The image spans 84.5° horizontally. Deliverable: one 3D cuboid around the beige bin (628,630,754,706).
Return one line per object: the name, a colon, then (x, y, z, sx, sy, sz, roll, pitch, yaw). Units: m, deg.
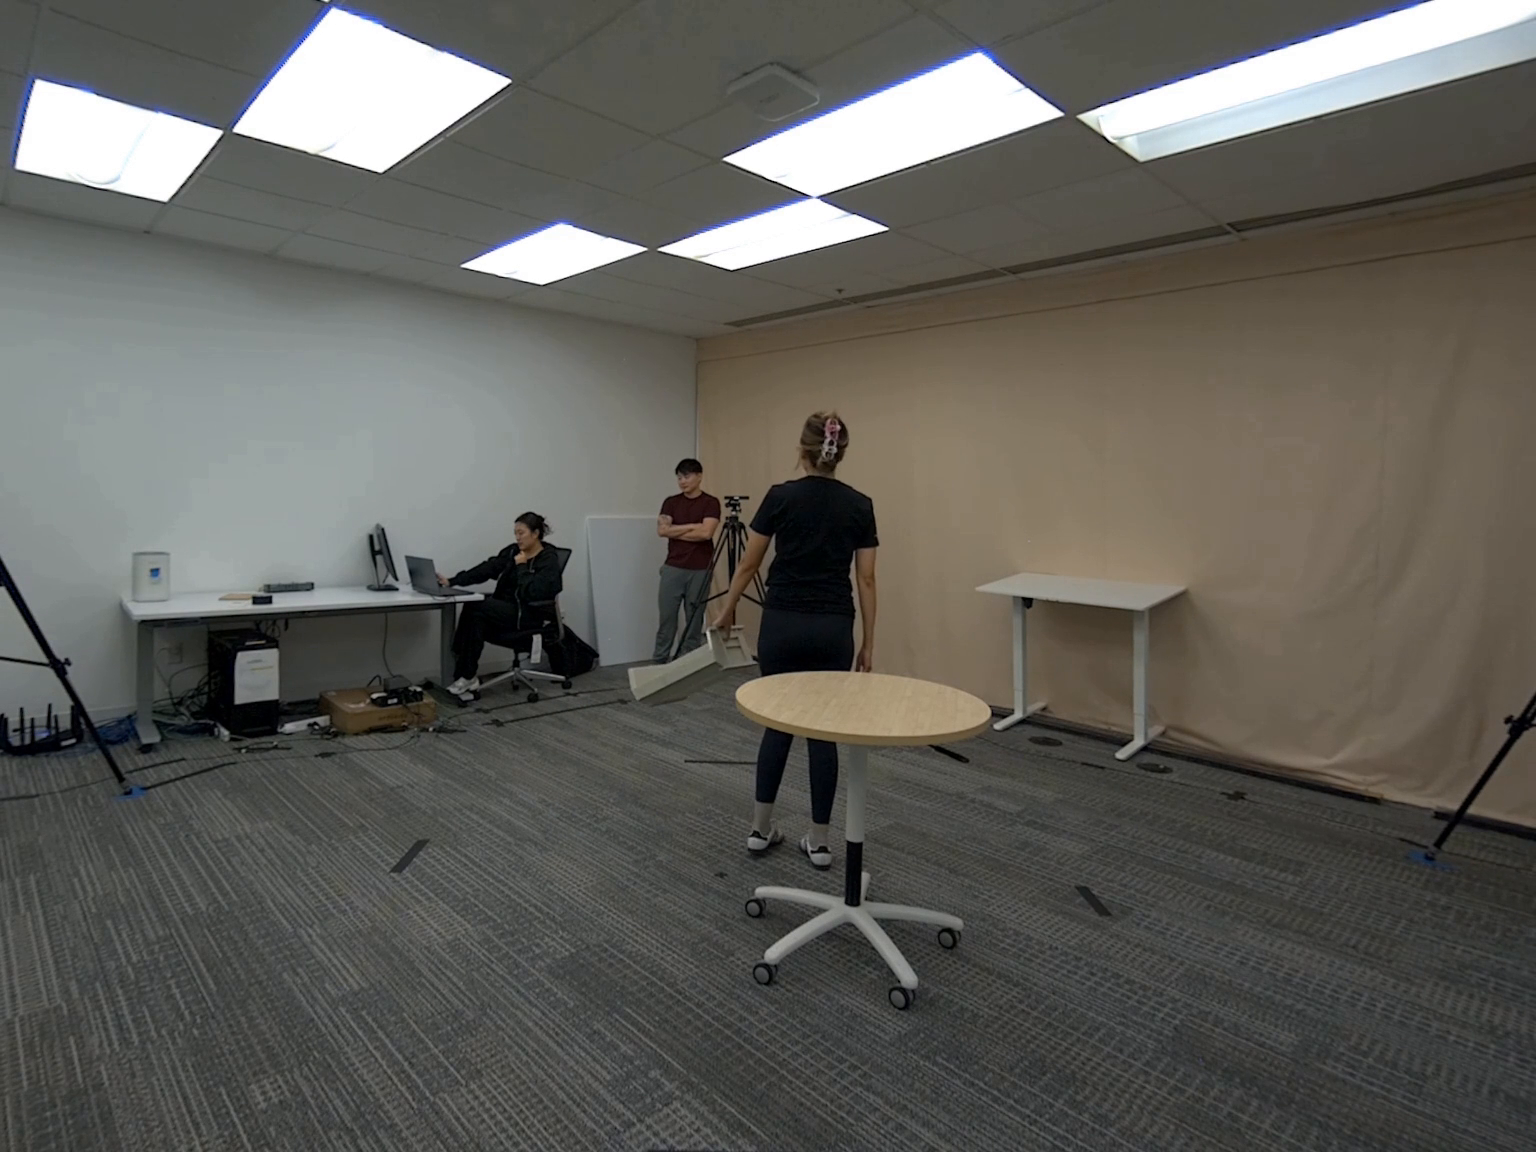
beige bin: (-0.324, 0.383, 3.566, 0.425, 0.192, 0.369, -28, -14, 21)
